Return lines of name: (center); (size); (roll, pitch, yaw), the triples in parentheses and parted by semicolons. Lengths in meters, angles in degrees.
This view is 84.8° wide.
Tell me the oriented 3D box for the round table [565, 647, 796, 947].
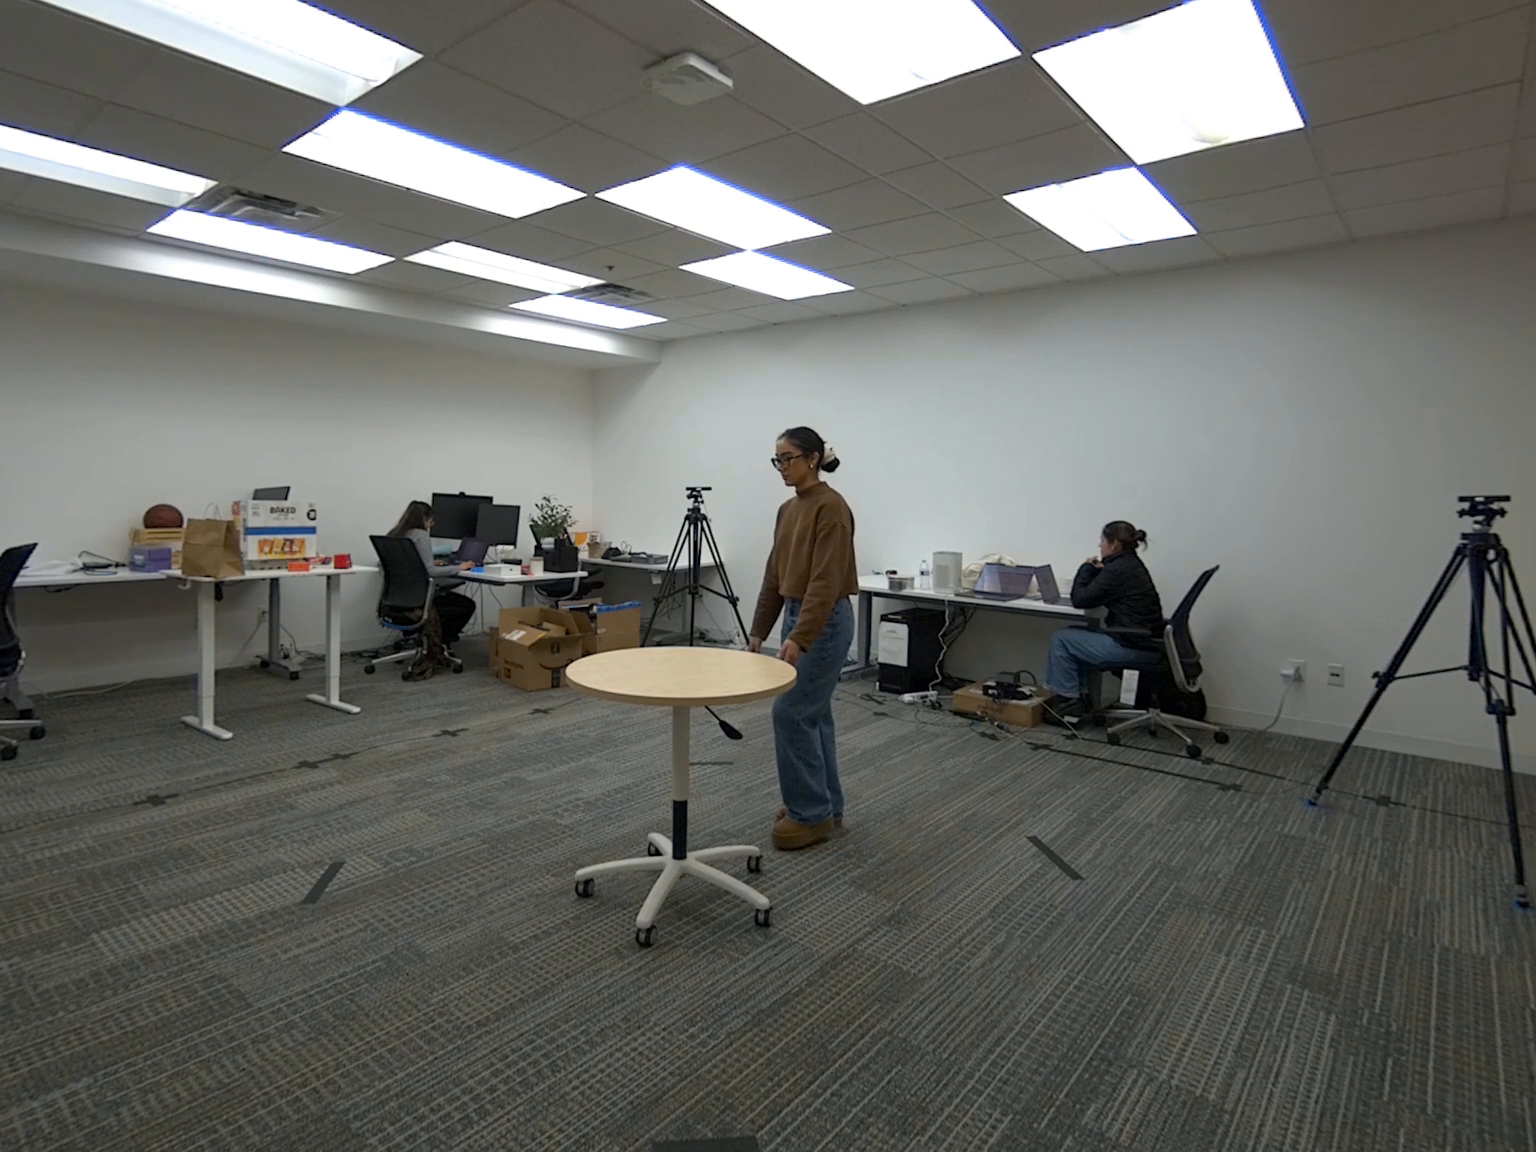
round table: (-0.308, 0.695, 2.875); (0.784, 0.783, 0.790); (1, 5, -2)
